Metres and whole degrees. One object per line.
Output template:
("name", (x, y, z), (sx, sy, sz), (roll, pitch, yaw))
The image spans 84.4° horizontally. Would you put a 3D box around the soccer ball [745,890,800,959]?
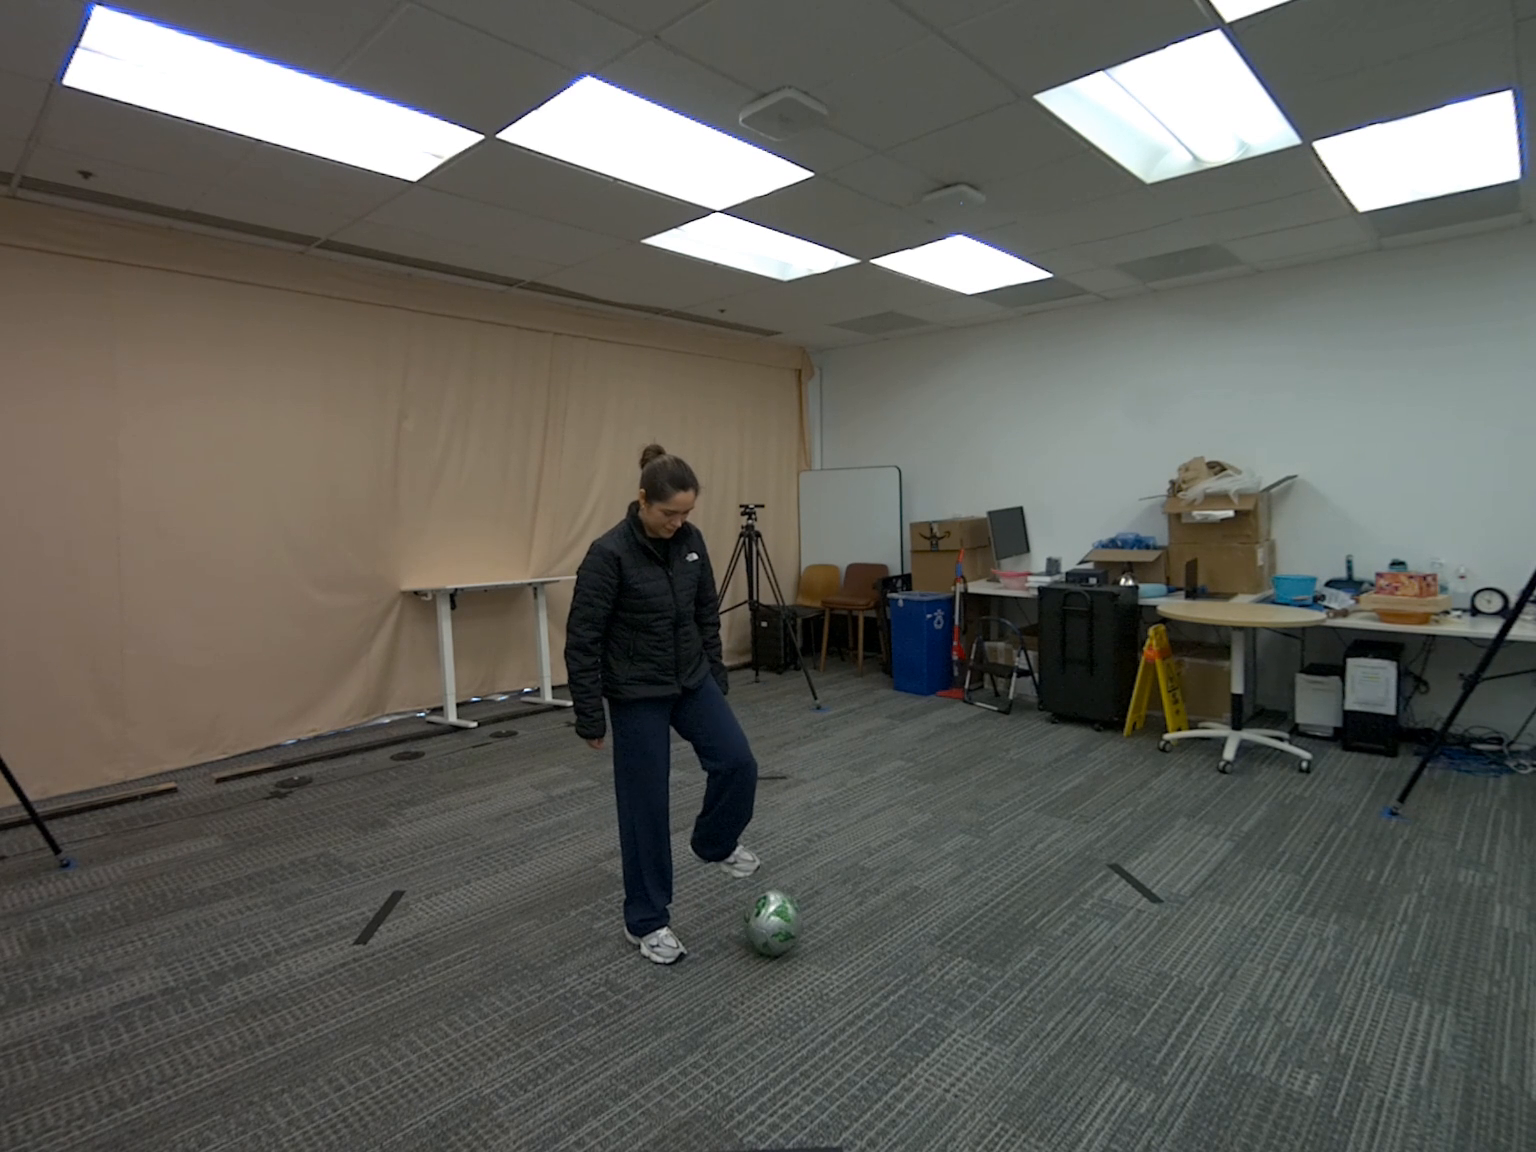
("soccer ball", (0.017, 1.076, 2.610), (0.187, 0.187, 0.188), (-1, 4, -2))
